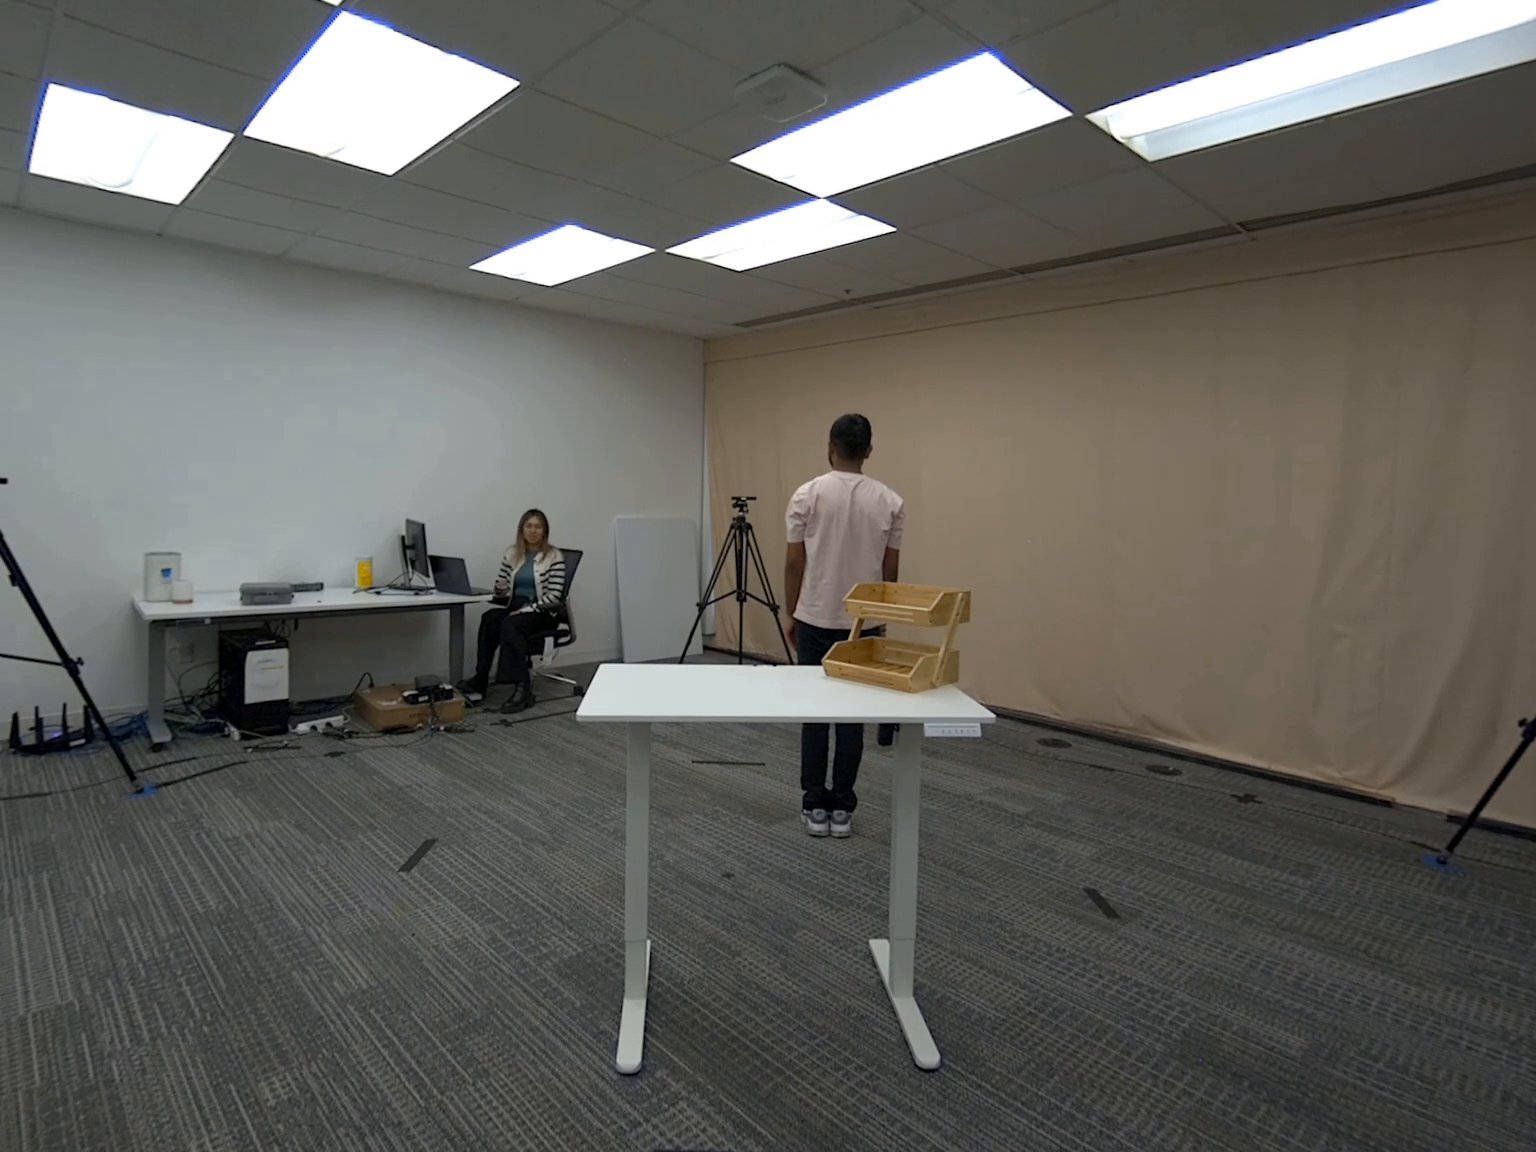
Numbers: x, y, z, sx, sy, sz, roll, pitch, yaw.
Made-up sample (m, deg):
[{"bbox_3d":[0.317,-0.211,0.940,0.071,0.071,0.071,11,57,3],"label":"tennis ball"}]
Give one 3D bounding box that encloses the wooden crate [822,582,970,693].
[{"bbox_3d":[0.361,0.164,2.431,0.333,0.273,0.295,5,5,44],"label":"wooden crate"}]
